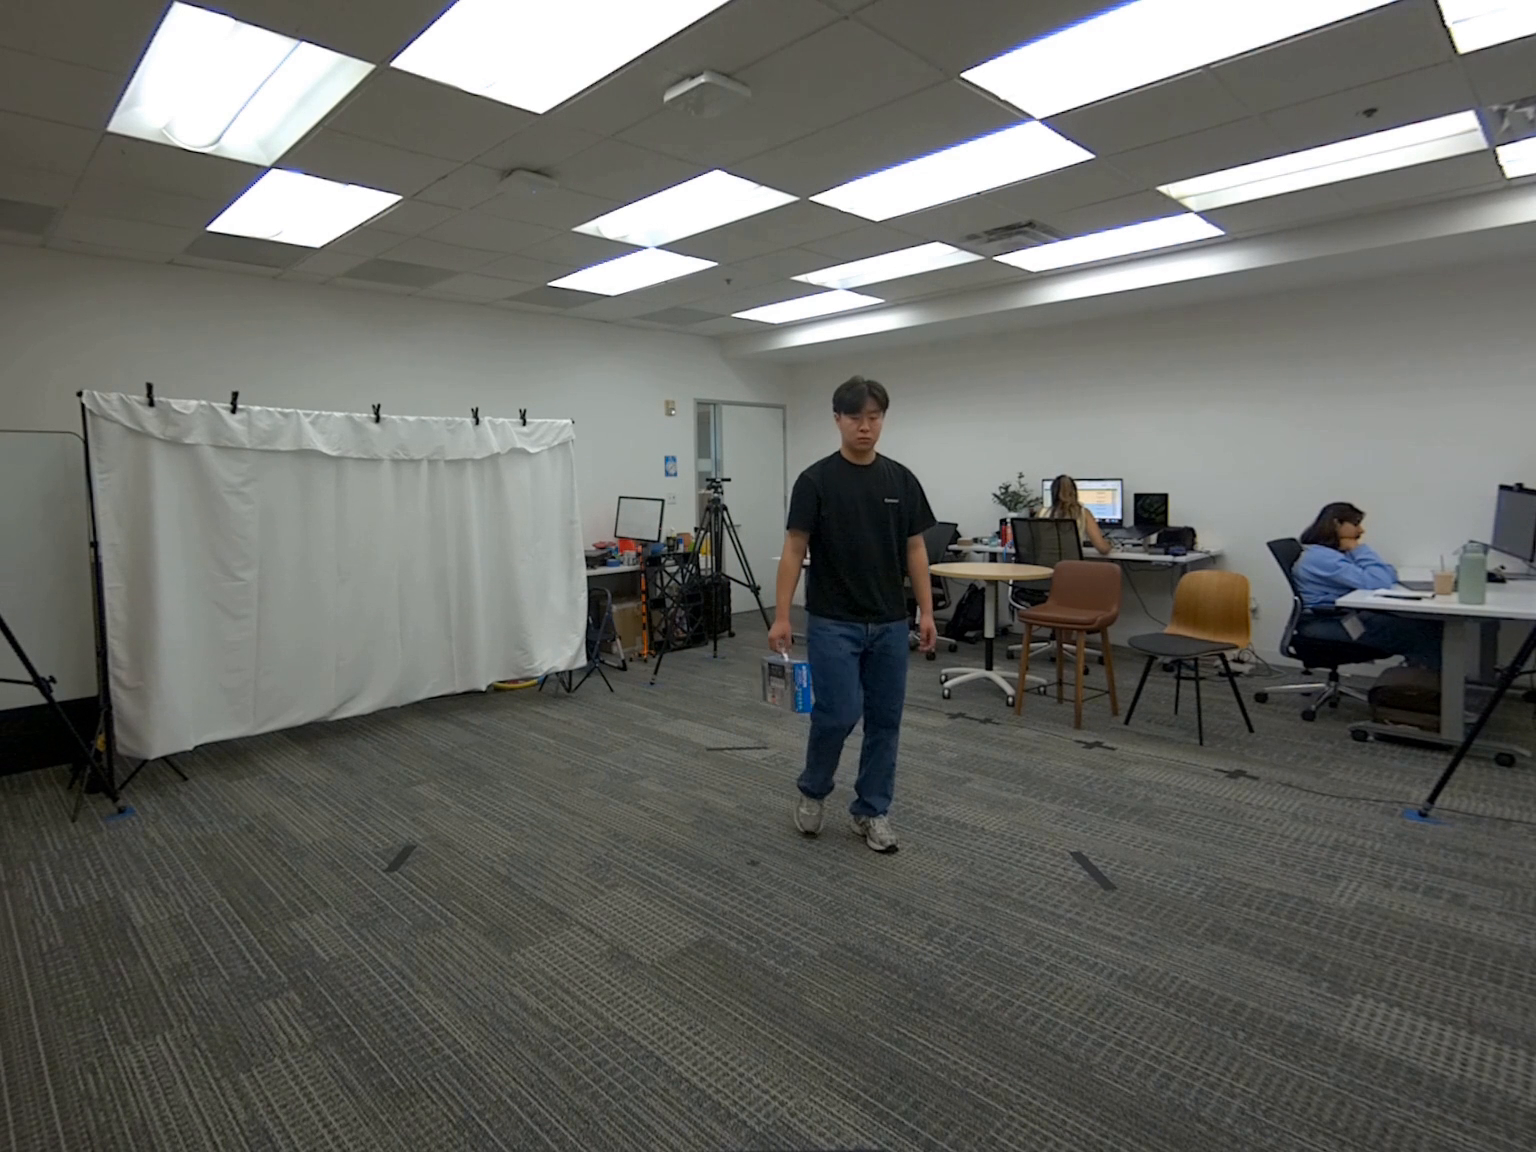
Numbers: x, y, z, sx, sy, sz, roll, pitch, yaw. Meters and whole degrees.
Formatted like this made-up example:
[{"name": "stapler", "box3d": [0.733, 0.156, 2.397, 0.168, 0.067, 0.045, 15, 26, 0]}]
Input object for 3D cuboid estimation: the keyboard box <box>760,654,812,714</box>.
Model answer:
[{"name": "keyboard box", "box3d": [0.063, 0.393, 3.156, 0.058, 0.176, 0.440, 0, -3, -14]}]
